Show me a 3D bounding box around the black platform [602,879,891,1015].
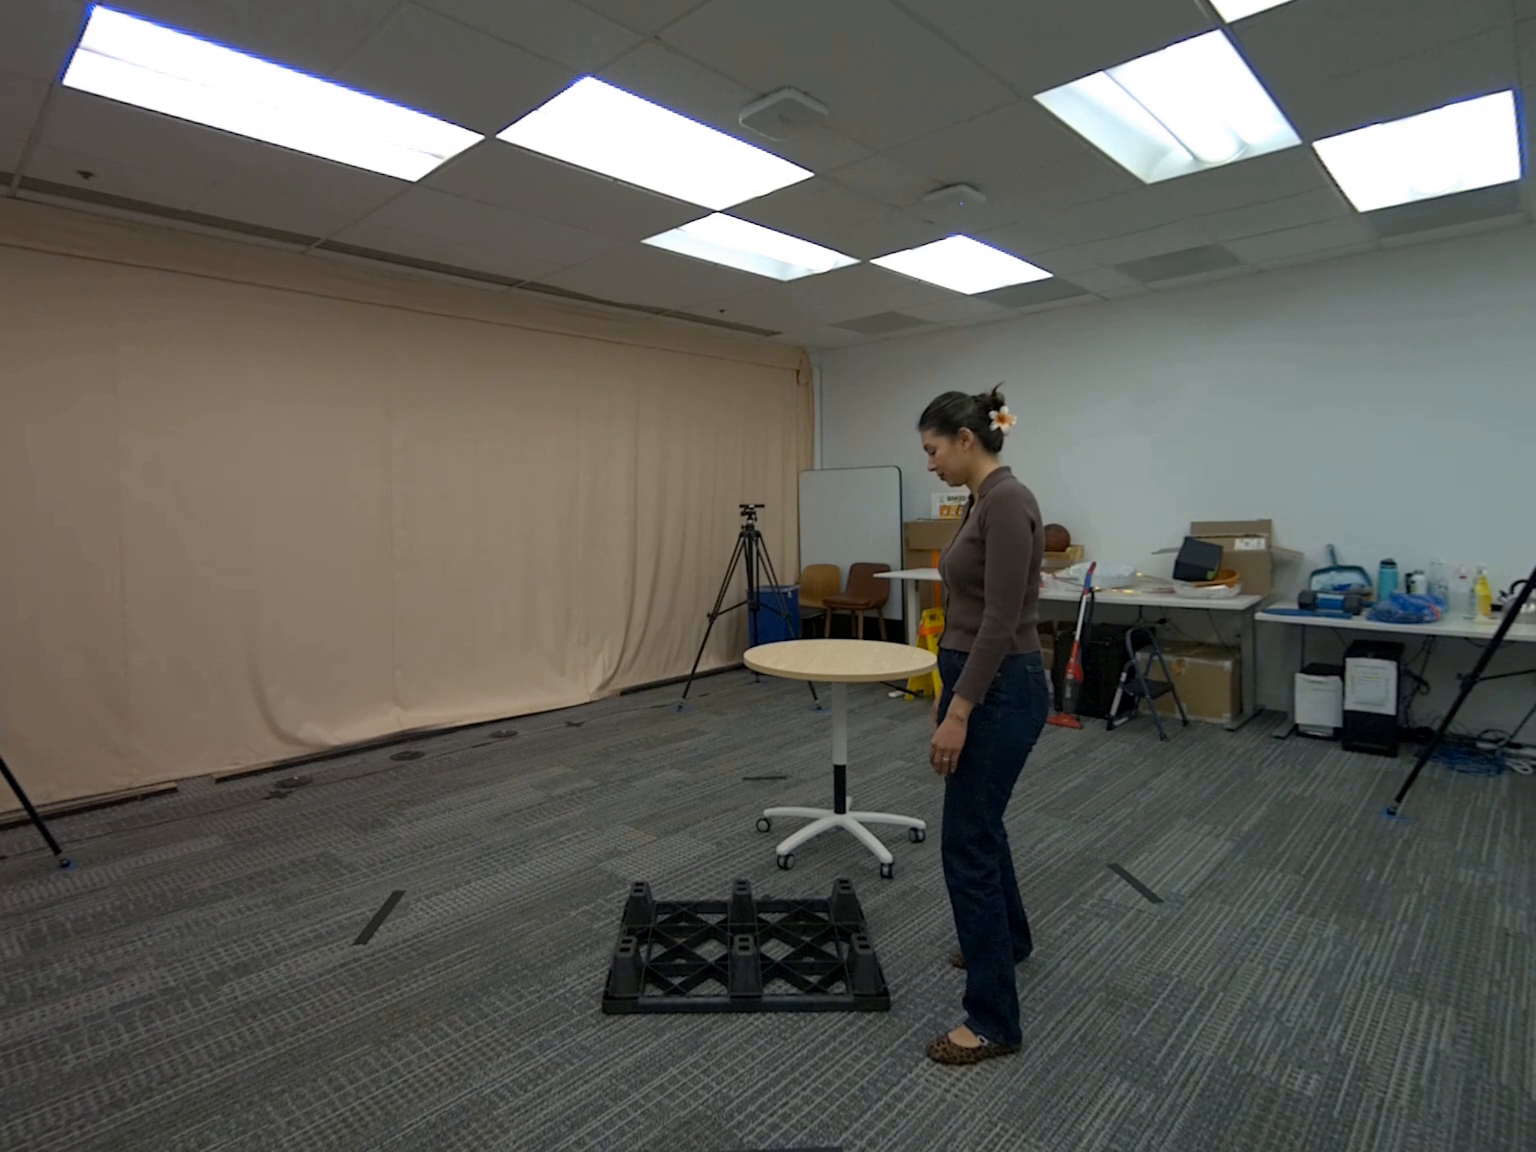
[{"bbox_3d":[-0.077,1.108,2.595,0.805,0.143,0.607,-1,5,-1],"label":"black platform"}]
